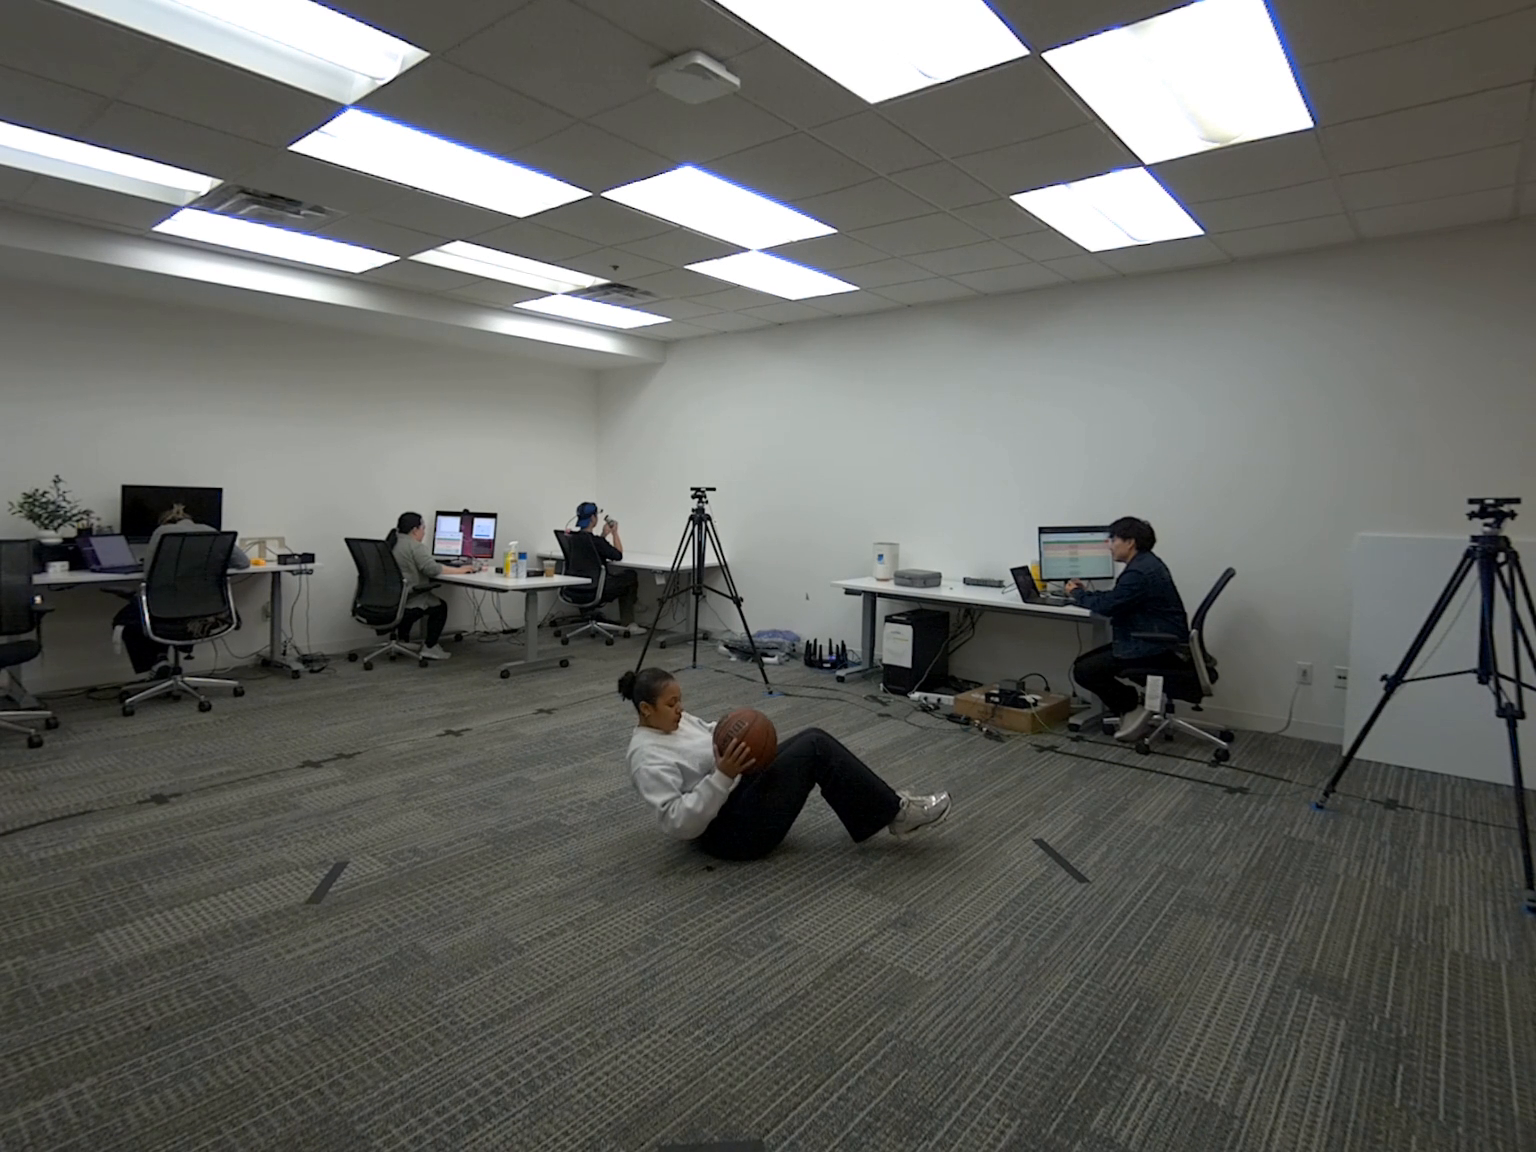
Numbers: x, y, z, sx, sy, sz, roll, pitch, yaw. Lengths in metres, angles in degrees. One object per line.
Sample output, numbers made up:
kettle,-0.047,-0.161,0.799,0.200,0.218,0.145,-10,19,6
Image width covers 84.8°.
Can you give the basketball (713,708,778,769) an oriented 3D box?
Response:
basketball,-0.101,0.610,3.144,0.235,0.235,0.237,1,4,-2
